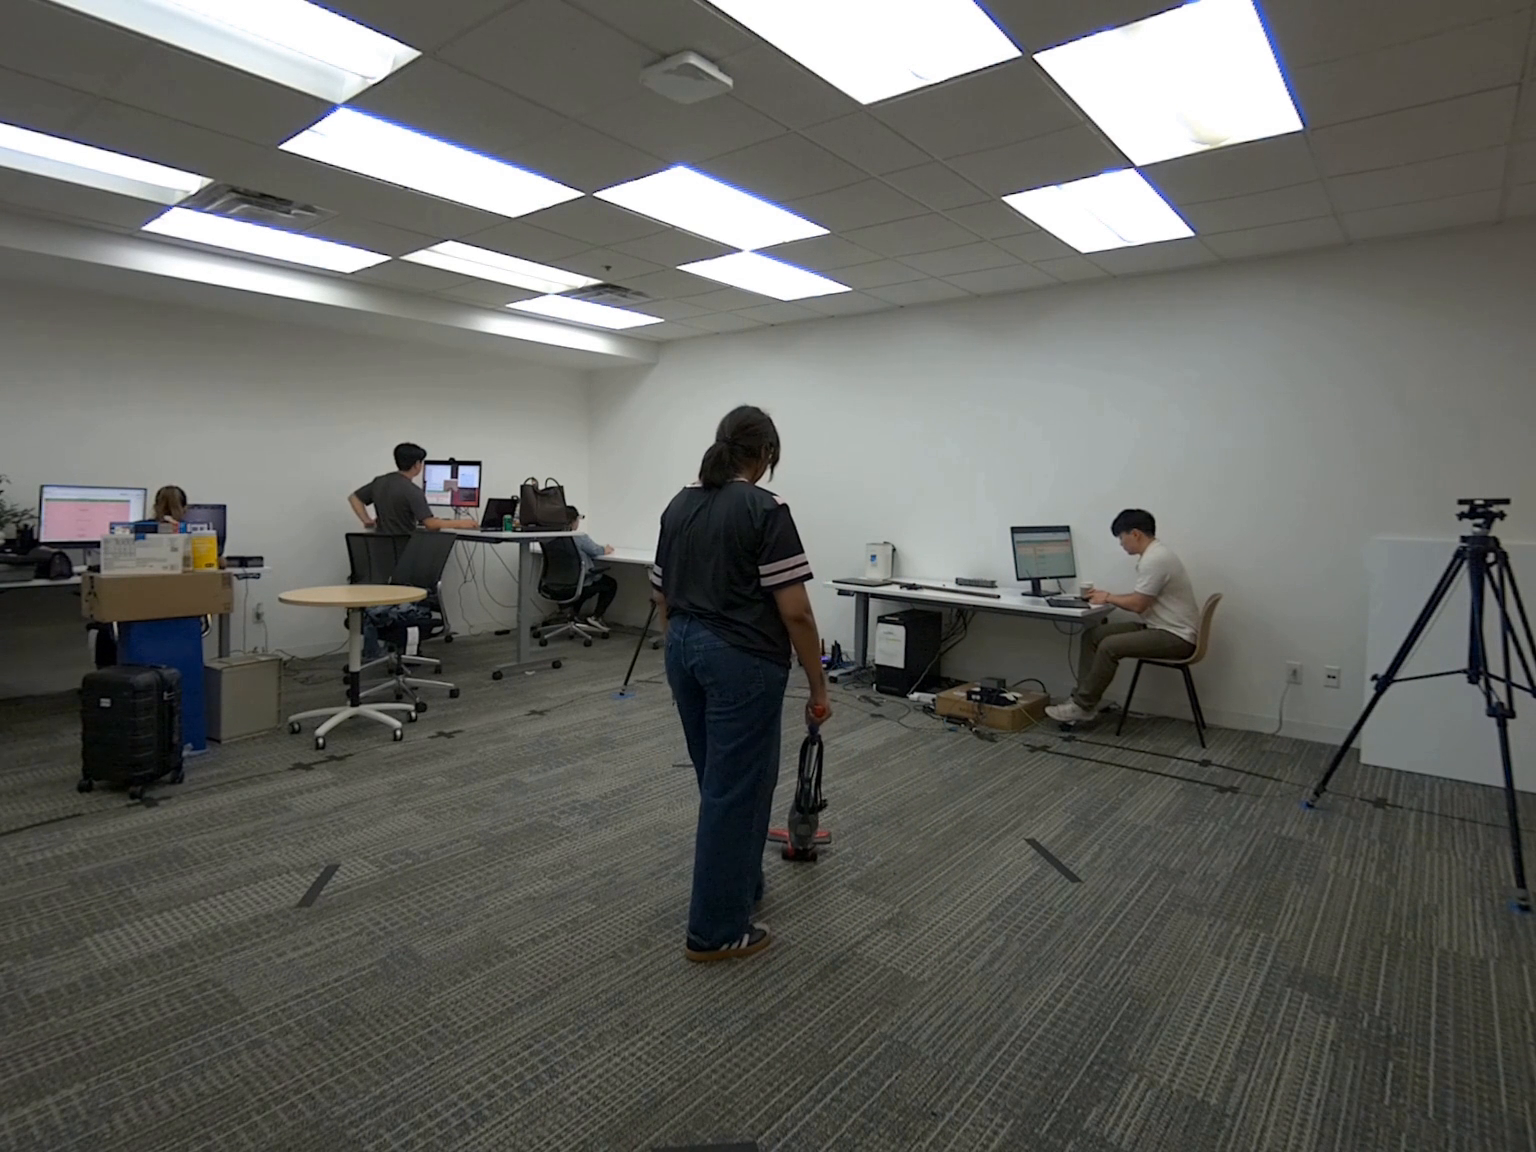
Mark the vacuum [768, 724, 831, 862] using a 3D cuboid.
[{"bbox_3d":[0.125,0.720,2.878,0.253,0.148,1.020,3,-38,1],"label":"vacuum"}]
